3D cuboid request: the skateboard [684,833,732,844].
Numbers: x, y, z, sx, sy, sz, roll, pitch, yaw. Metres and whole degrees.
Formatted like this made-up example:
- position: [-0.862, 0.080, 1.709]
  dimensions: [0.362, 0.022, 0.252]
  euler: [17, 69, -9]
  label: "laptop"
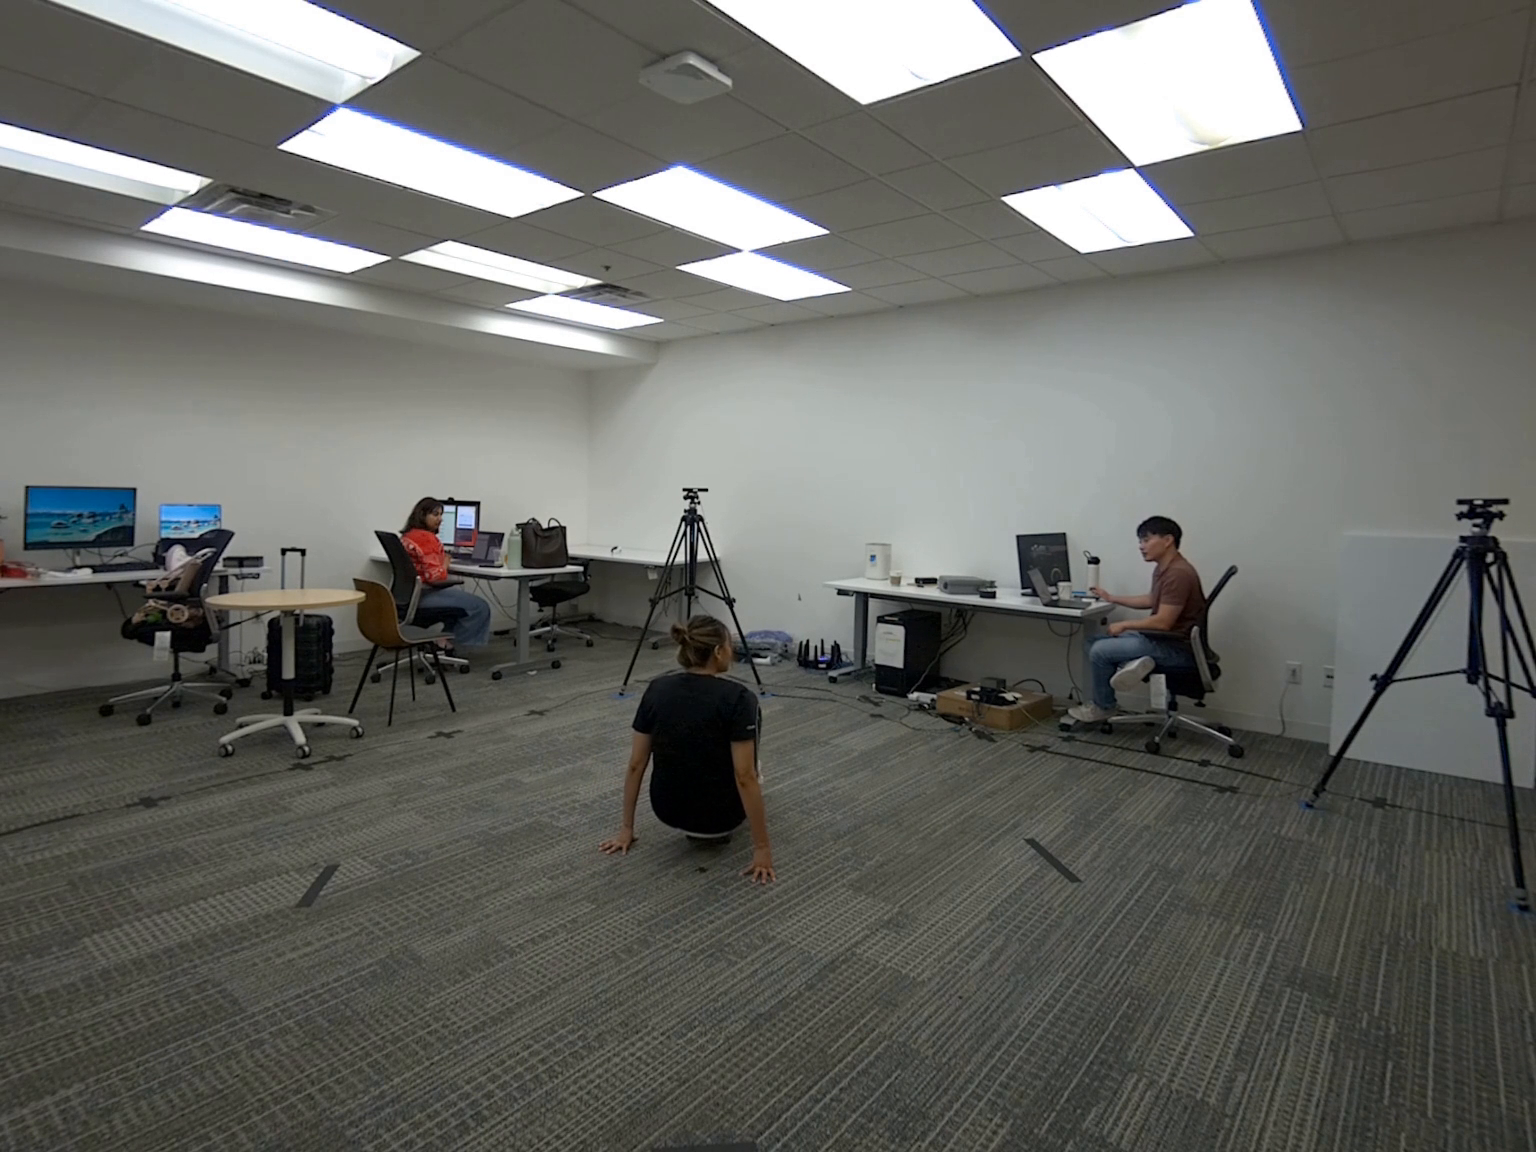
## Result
- position: [-0.214, 0.969, 3.555]
  dimensions: [0.196, 0.110, 0.779]
  euler: [3, 6, 9]
  label: "skateboard"
